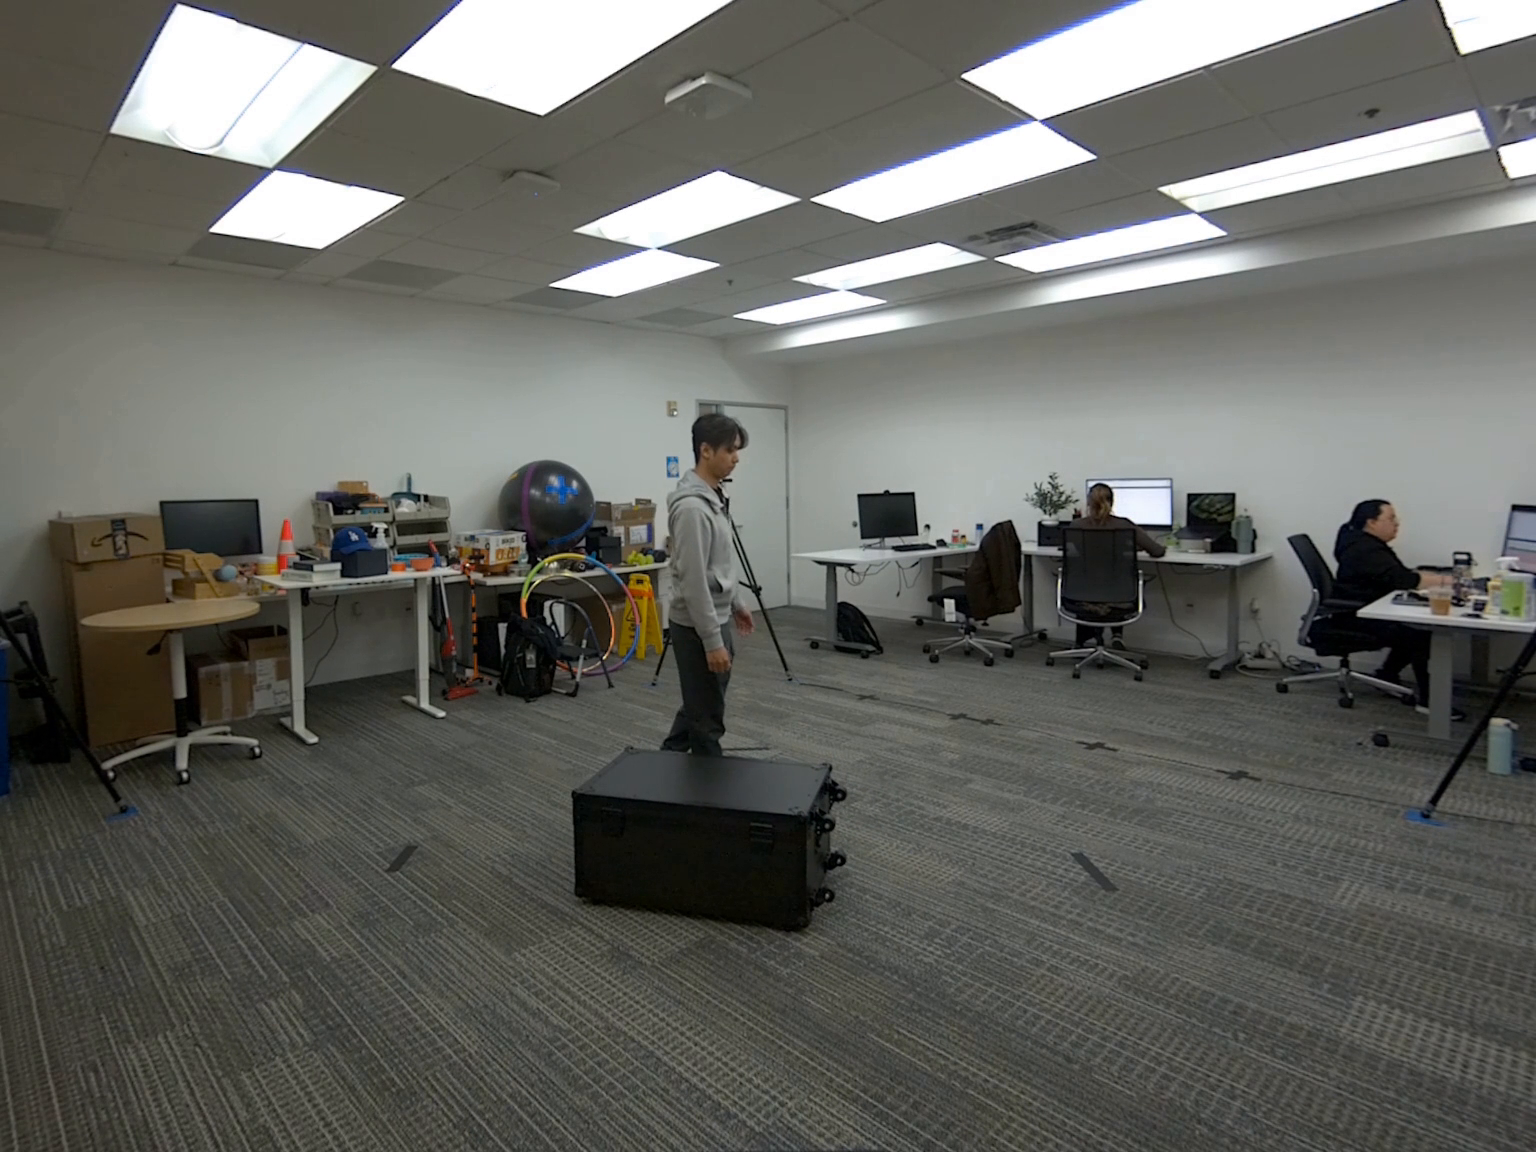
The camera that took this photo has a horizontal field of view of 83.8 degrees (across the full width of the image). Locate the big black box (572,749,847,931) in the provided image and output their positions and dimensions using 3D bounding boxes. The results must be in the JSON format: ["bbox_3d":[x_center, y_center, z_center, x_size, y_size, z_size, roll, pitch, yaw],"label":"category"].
[{"bbox_3d":[-0.176,0.873,2.926,0.875,0.395,0.515,0,5,15],"label":"big black box"}]
